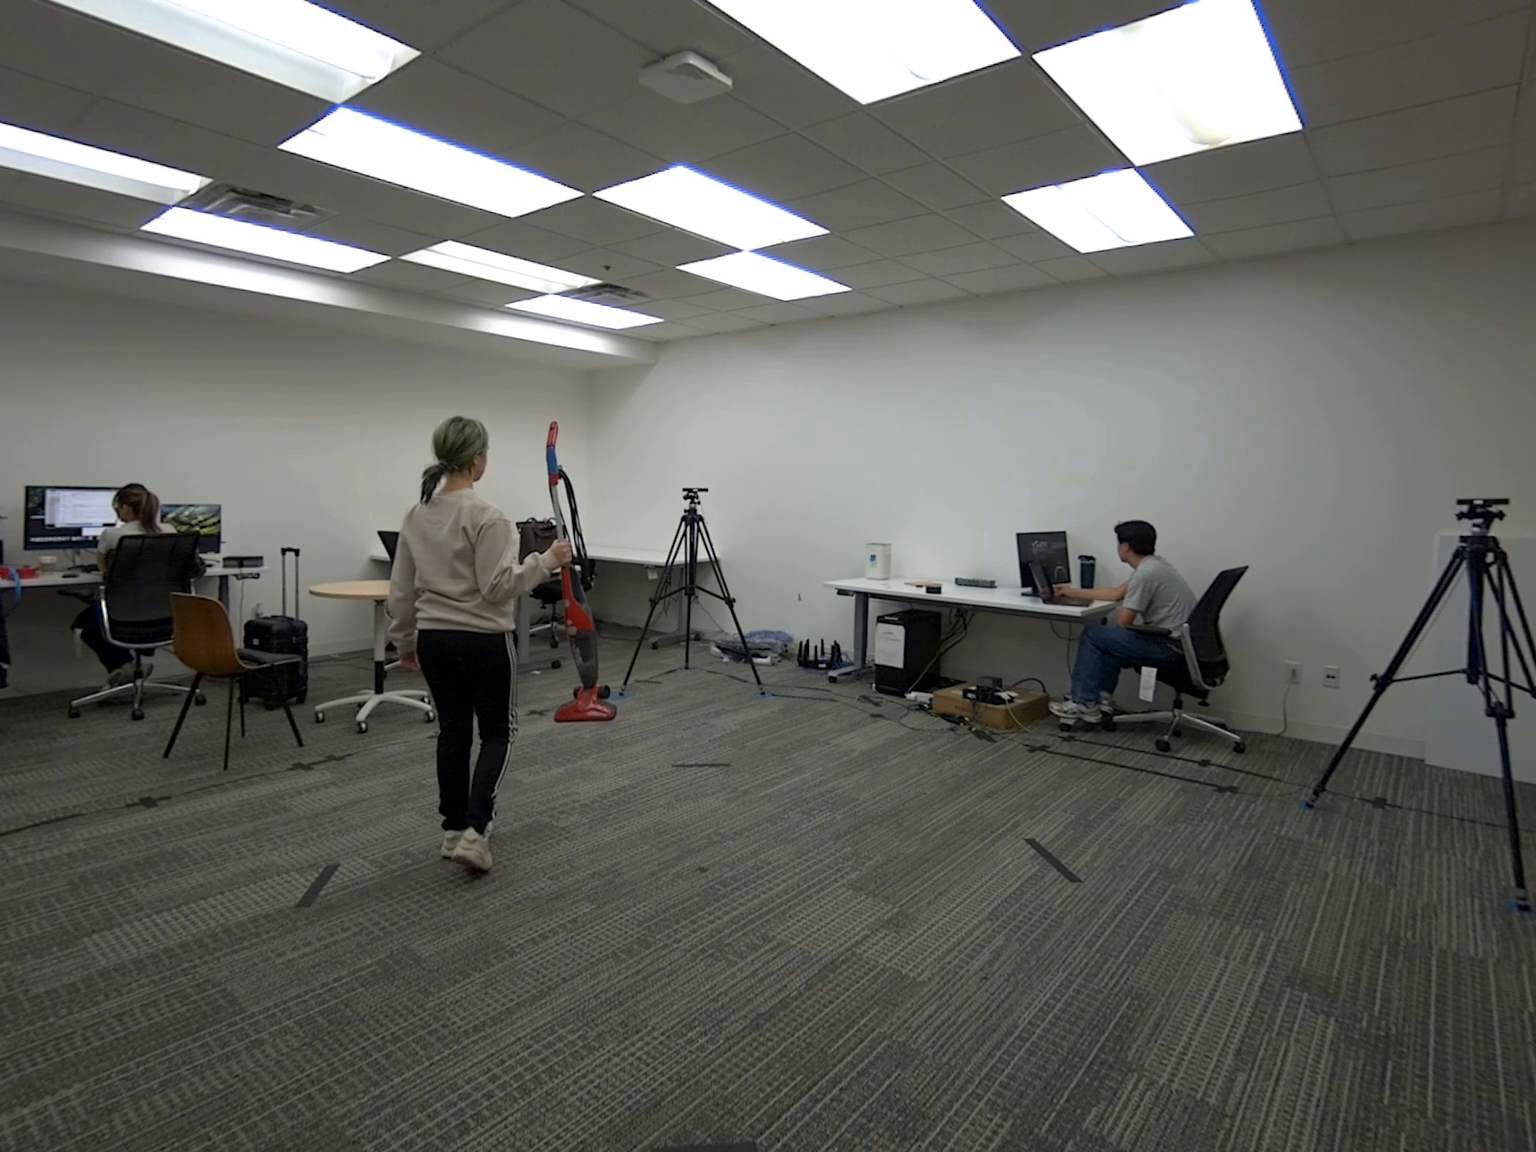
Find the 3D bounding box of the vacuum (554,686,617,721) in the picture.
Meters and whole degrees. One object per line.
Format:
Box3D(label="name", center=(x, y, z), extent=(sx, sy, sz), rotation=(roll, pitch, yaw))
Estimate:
Box3D(label="vacuum", center=(-0.738, -0.036, 3.149), extent=(0.255, 1.048, 0.142), rotation=(-6, 1, 10))
